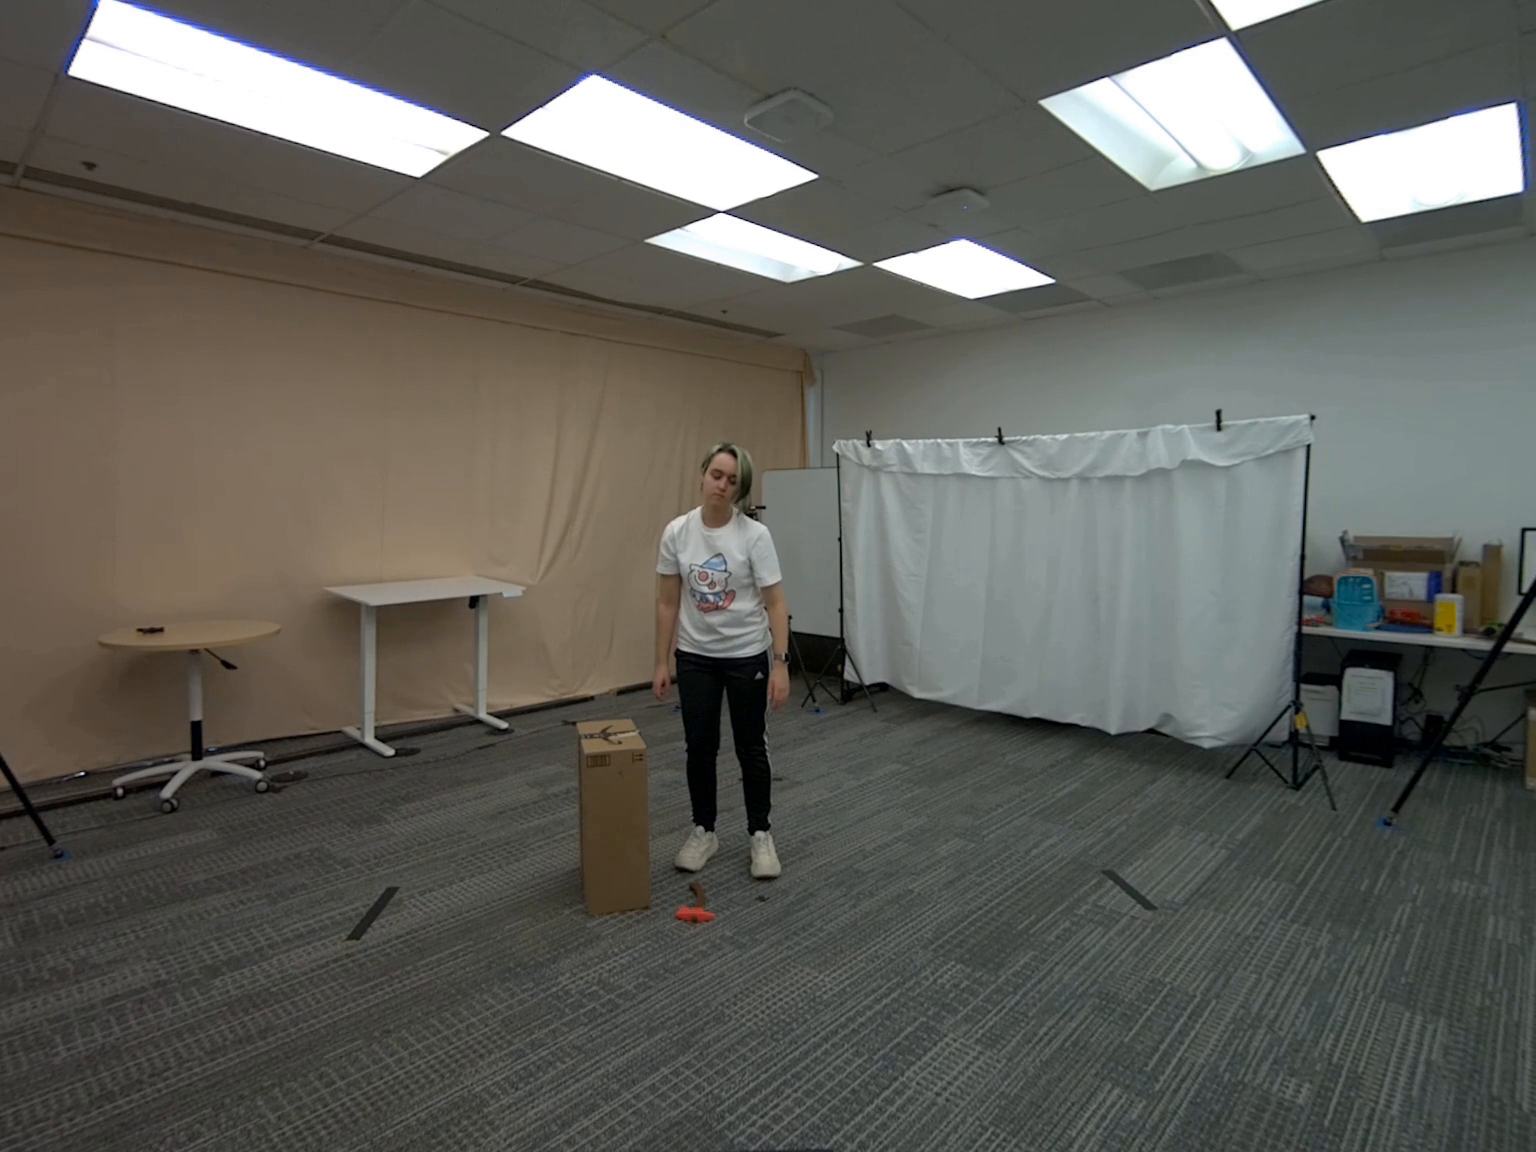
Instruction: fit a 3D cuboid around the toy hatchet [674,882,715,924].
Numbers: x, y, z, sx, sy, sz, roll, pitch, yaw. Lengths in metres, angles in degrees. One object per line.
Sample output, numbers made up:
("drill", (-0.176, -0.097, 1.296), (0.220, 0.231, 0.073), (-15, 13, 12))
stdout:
("toy hatchet", (-0.273, 1.134, 2.938), (0.129, 0.029, 0.274), (-4, 4, -15))
